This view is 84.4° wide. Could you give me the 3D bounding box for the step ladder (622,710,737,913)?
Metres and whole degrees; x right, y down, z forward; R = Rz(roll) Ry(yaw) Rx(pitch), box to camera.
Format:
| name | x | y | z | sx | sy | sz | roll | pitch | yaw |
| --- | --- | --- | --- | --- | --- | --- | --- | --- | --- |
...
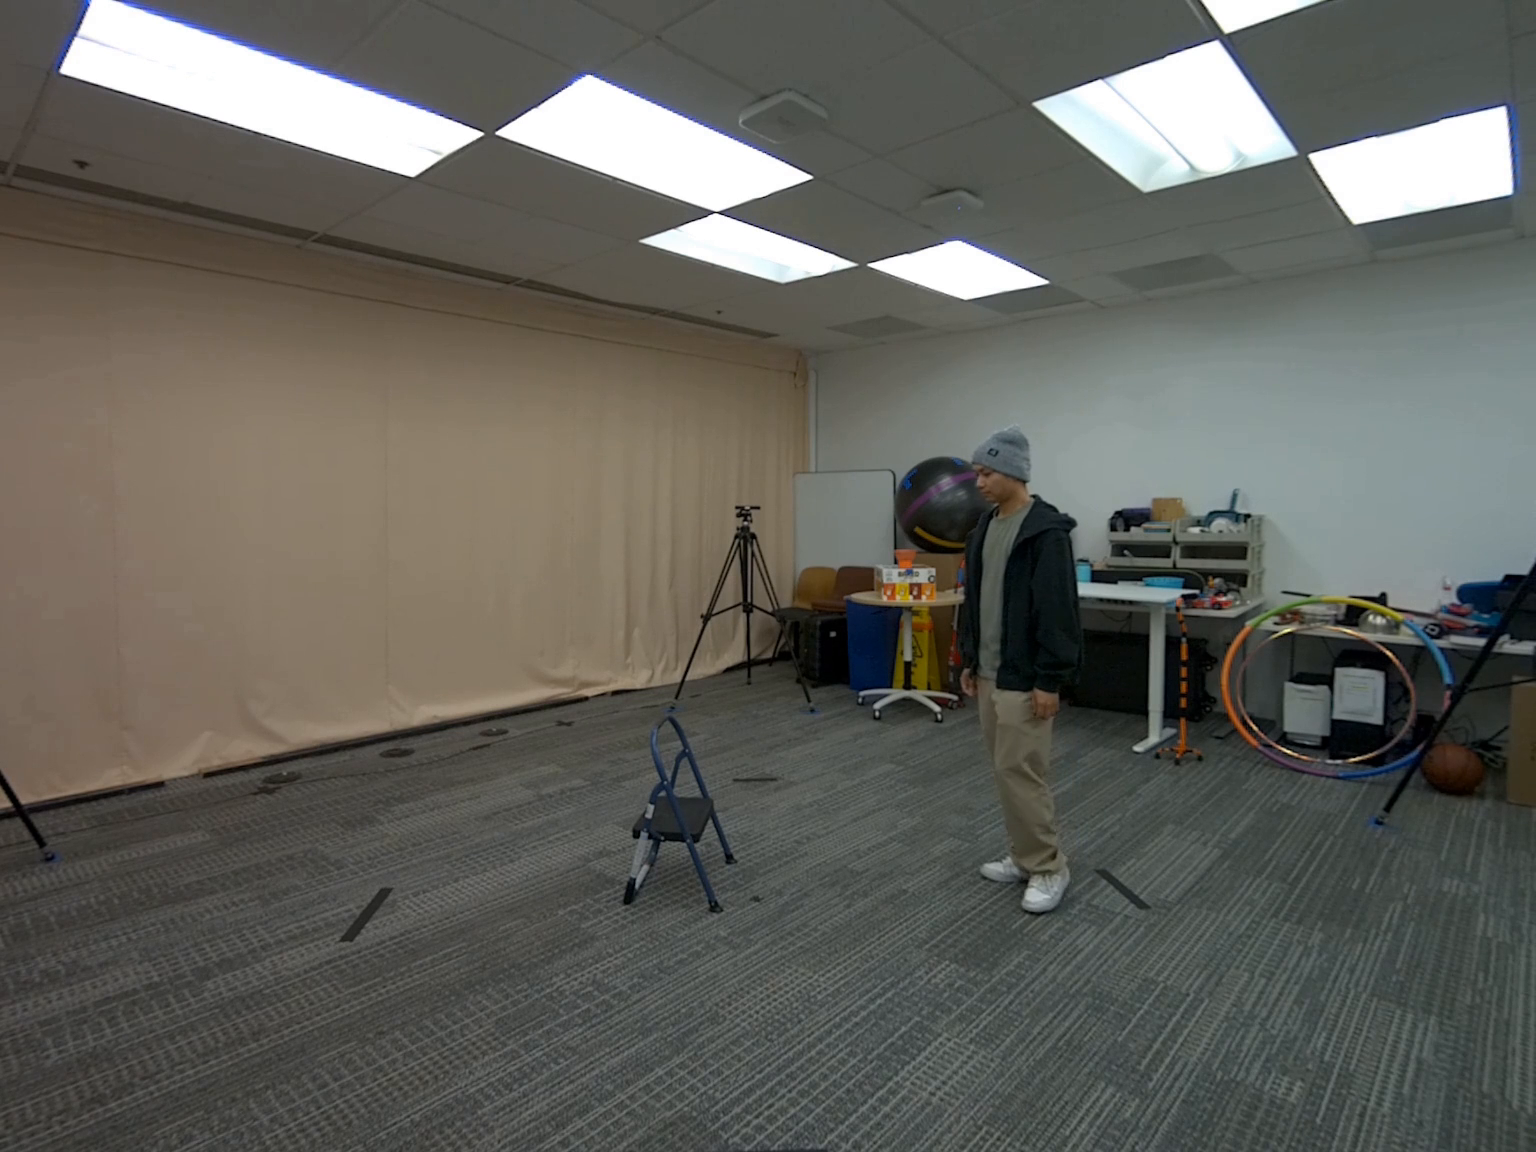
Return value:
| name | x | y | z | sx | sy | sz | roll | pitch | yaw |
| --- | --- | --- | --- | --- | --- | --- | --- | --- | --- |
| step ladder | -0.318 | 0.836 | 3.109 | 0.352 | 0.604 | 0.428 | 0 | 4 | 7 |
